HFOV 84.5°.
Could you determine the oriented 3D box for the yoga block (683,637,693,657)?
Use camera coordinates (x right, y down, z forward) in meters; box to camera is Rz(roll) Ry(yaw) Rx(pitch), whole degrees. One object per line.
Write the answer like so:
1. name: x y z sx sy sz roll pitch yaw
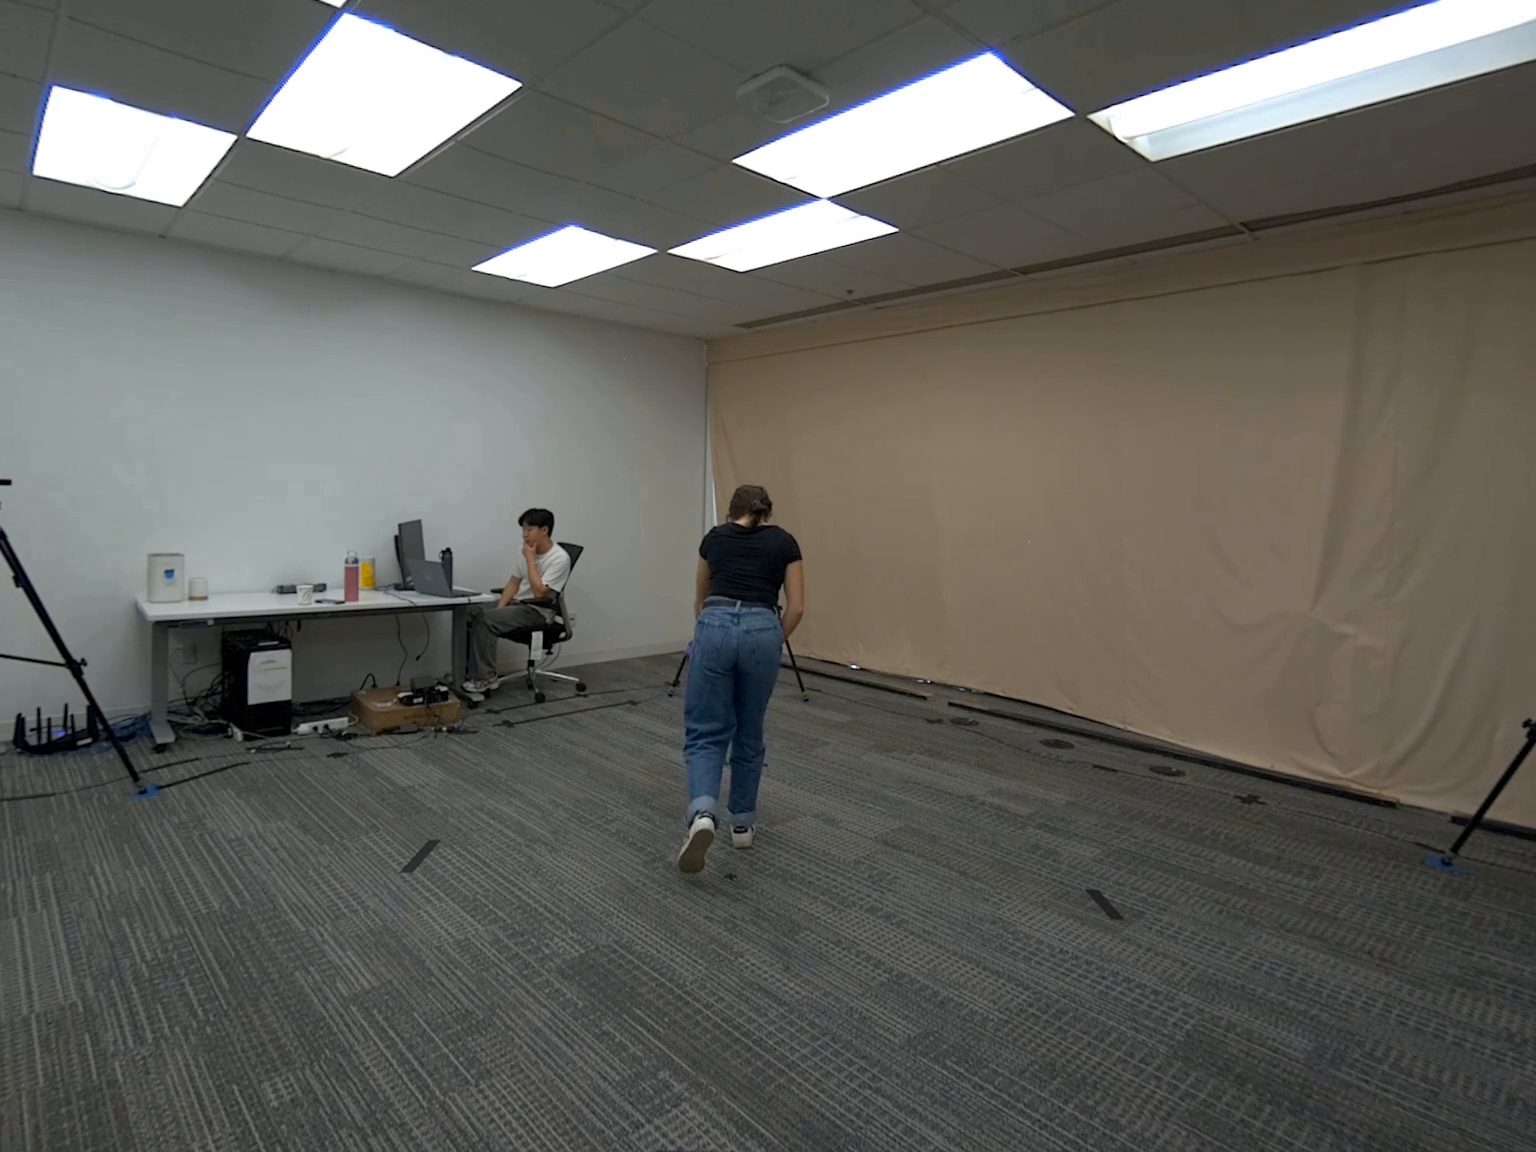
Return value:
1. yoga block: -0.307 0.323 3.905 0.078 0.145 0.230 7 44 29
